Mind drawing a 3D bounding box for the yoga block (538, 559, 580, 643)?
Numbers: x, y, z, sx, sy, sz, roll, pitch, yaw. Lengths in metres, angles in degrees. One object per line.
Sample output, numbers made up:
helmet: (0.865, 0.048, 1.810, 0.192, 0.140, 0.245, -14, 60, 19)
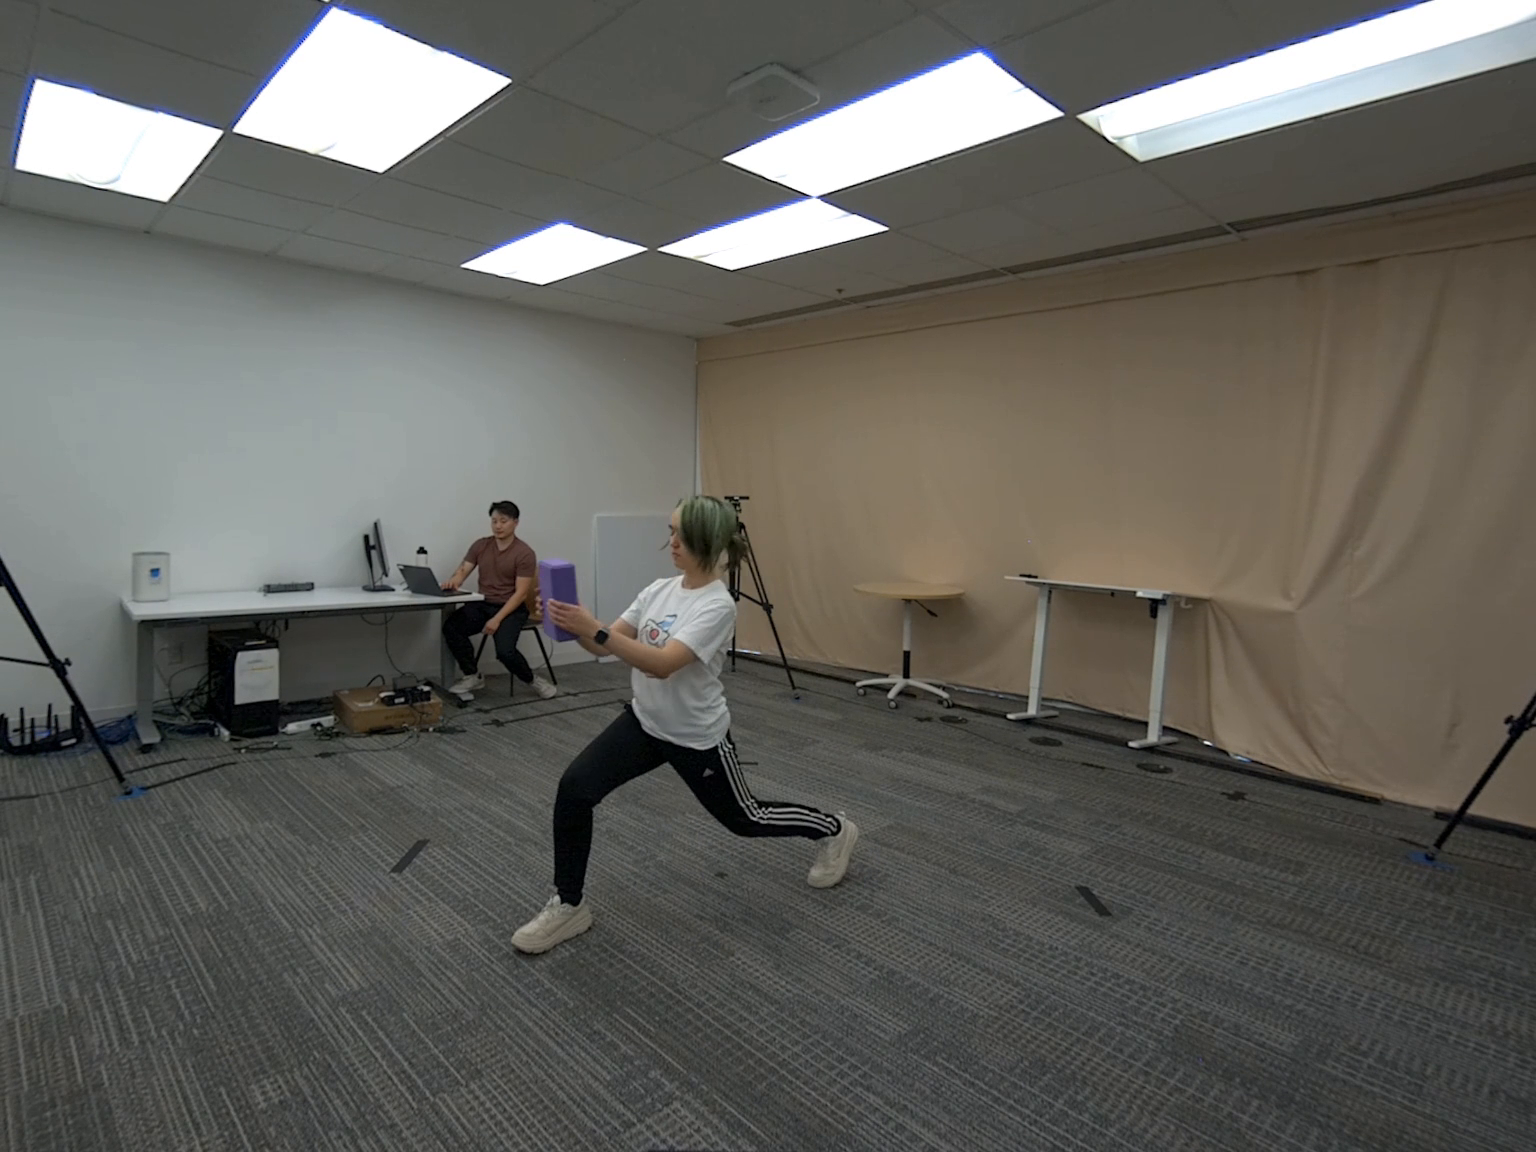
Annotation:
yoga block: (-0.619, 0.073, 2.522, 0.075, 0.228, 0.152, -9, 10, -30)
